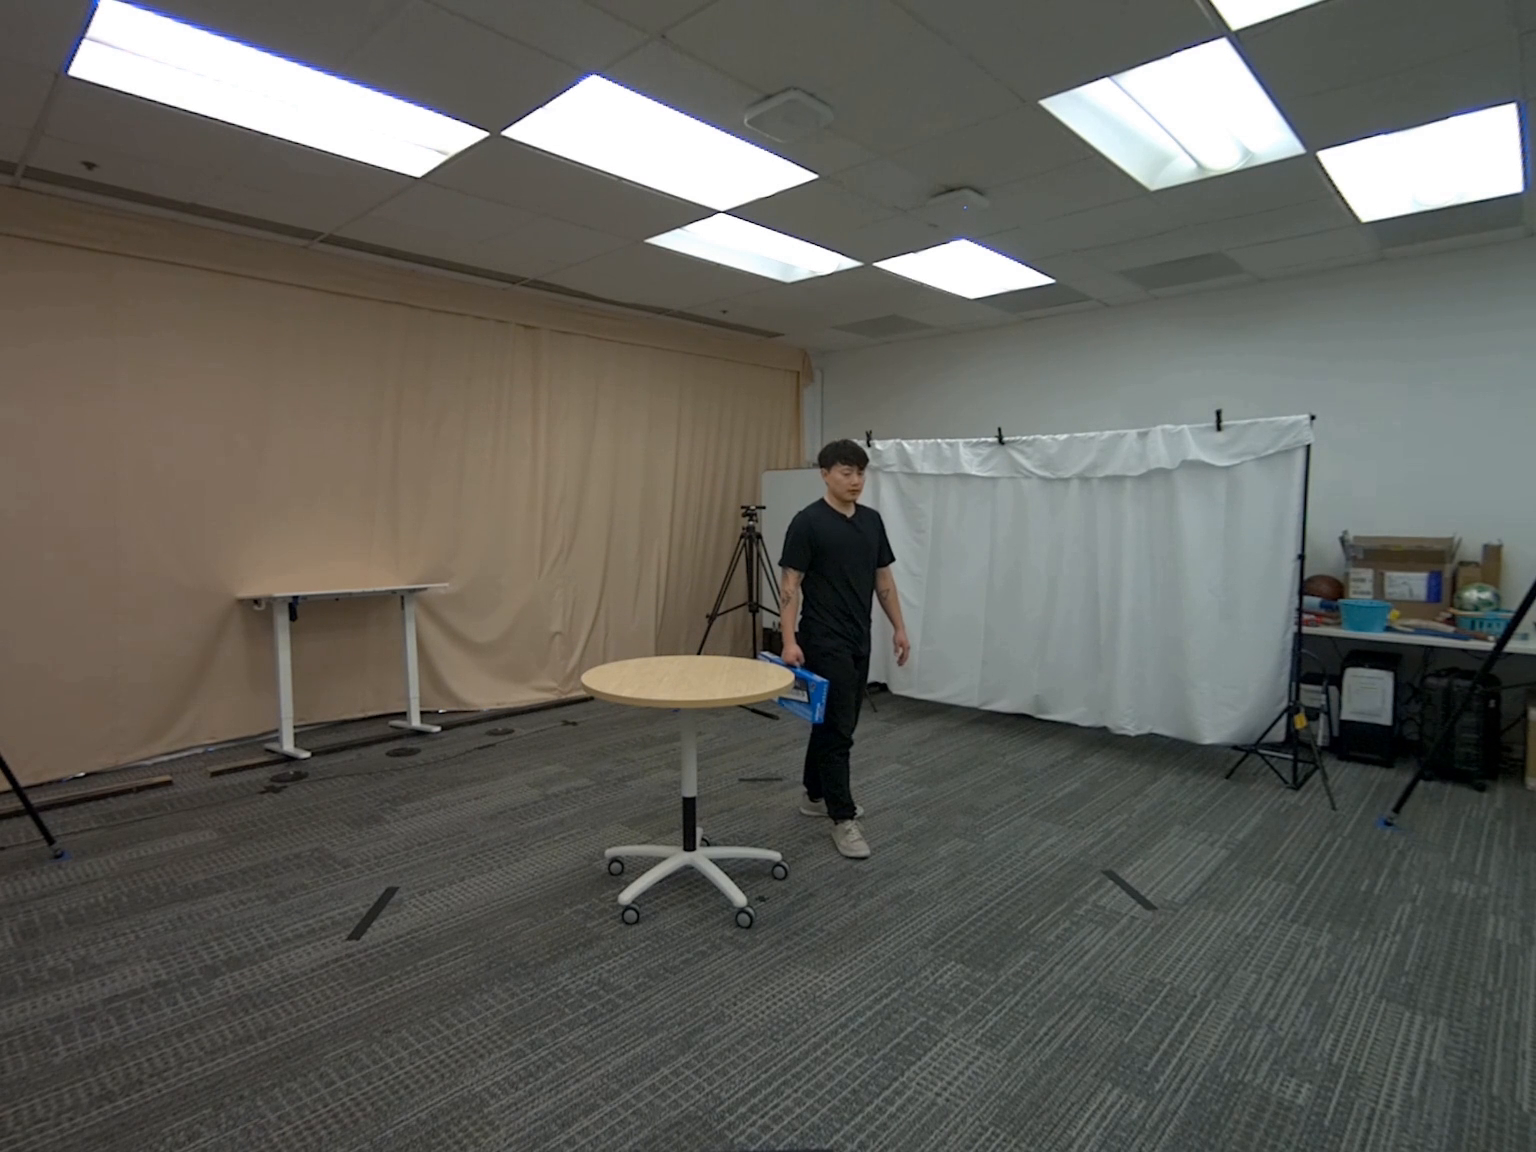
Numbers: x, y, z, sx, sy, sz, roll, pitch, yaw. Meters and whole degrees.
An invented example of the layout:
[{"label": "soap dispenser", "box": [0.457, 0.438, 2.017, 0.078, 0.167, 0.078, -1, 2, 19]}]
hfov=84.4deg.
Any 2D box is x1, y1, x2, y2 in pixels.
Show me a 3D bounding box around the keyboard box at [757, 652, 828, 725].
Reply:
[{"label": "keyboard box", "box": [0.091, 0.453, 3.481, 0.057, 0.175, 0.451, 2, 9, -34]}]
